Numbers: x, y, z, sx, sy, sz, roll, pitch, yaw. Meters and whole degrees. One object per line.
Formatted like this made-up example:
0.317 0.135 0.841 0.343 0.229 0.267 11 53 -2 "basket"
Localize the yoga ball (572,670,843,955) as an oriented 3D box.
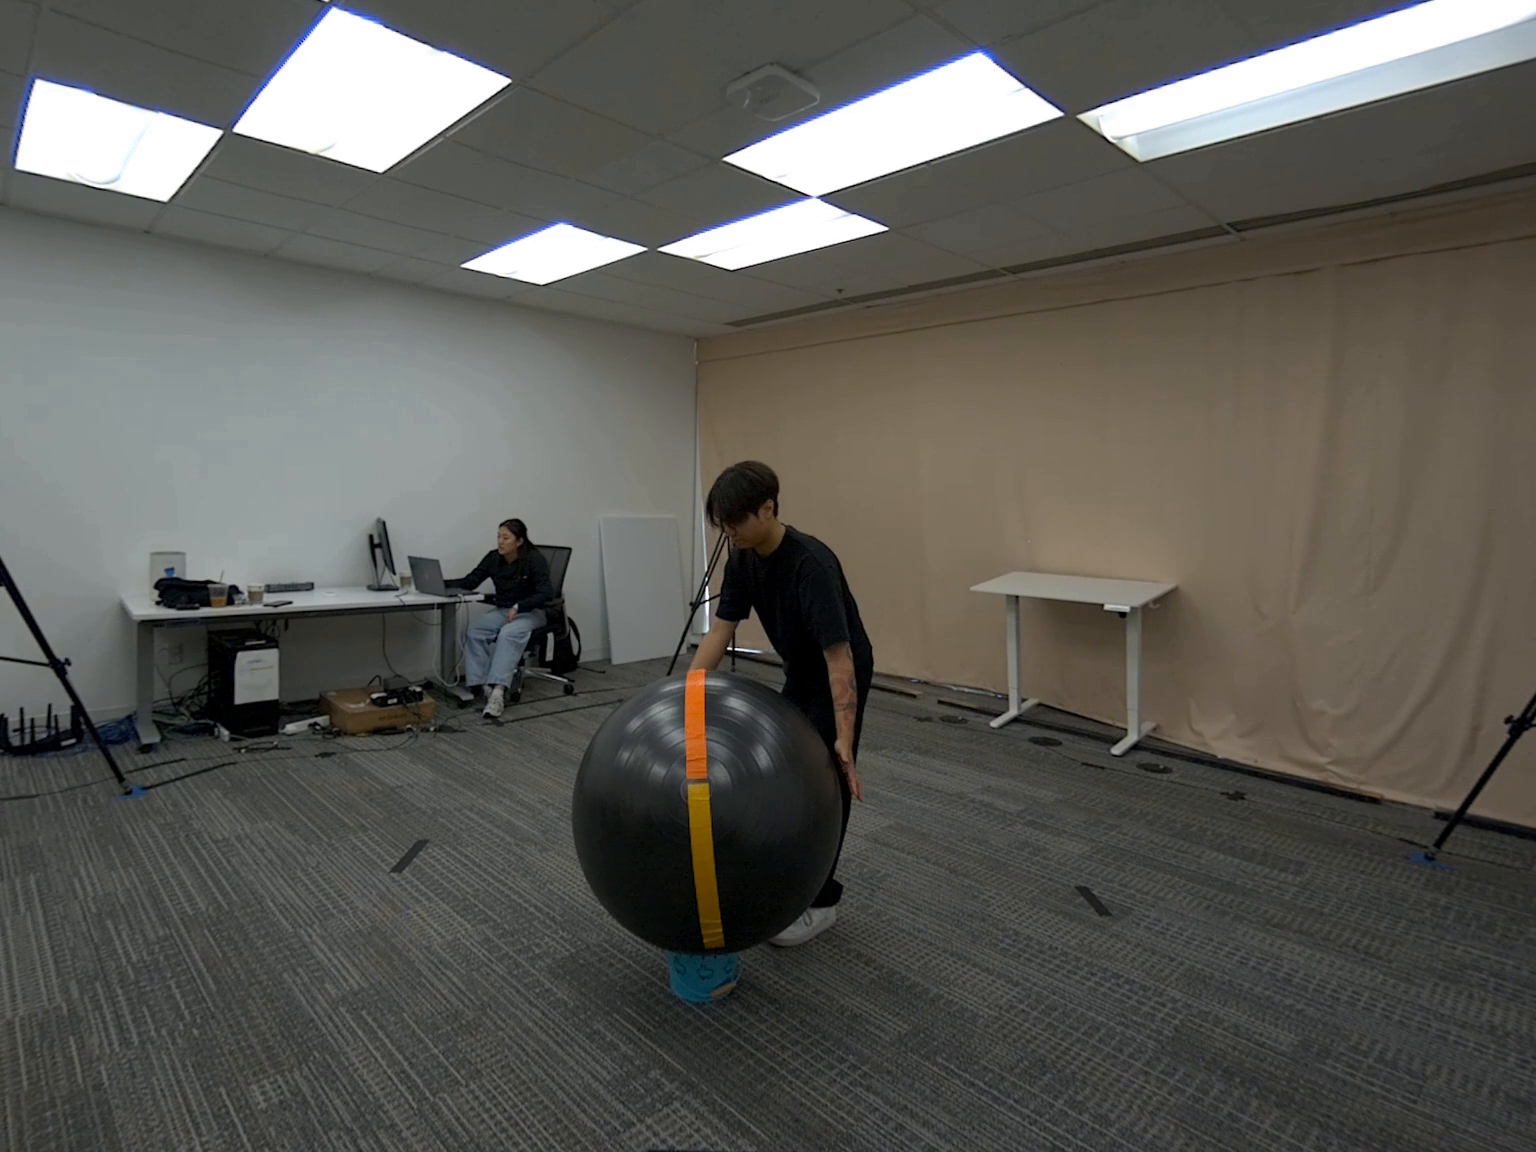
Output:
-0.179 0.669 2.366 0.757 0.756 0.761 1 4 -1 "yoga ball"
